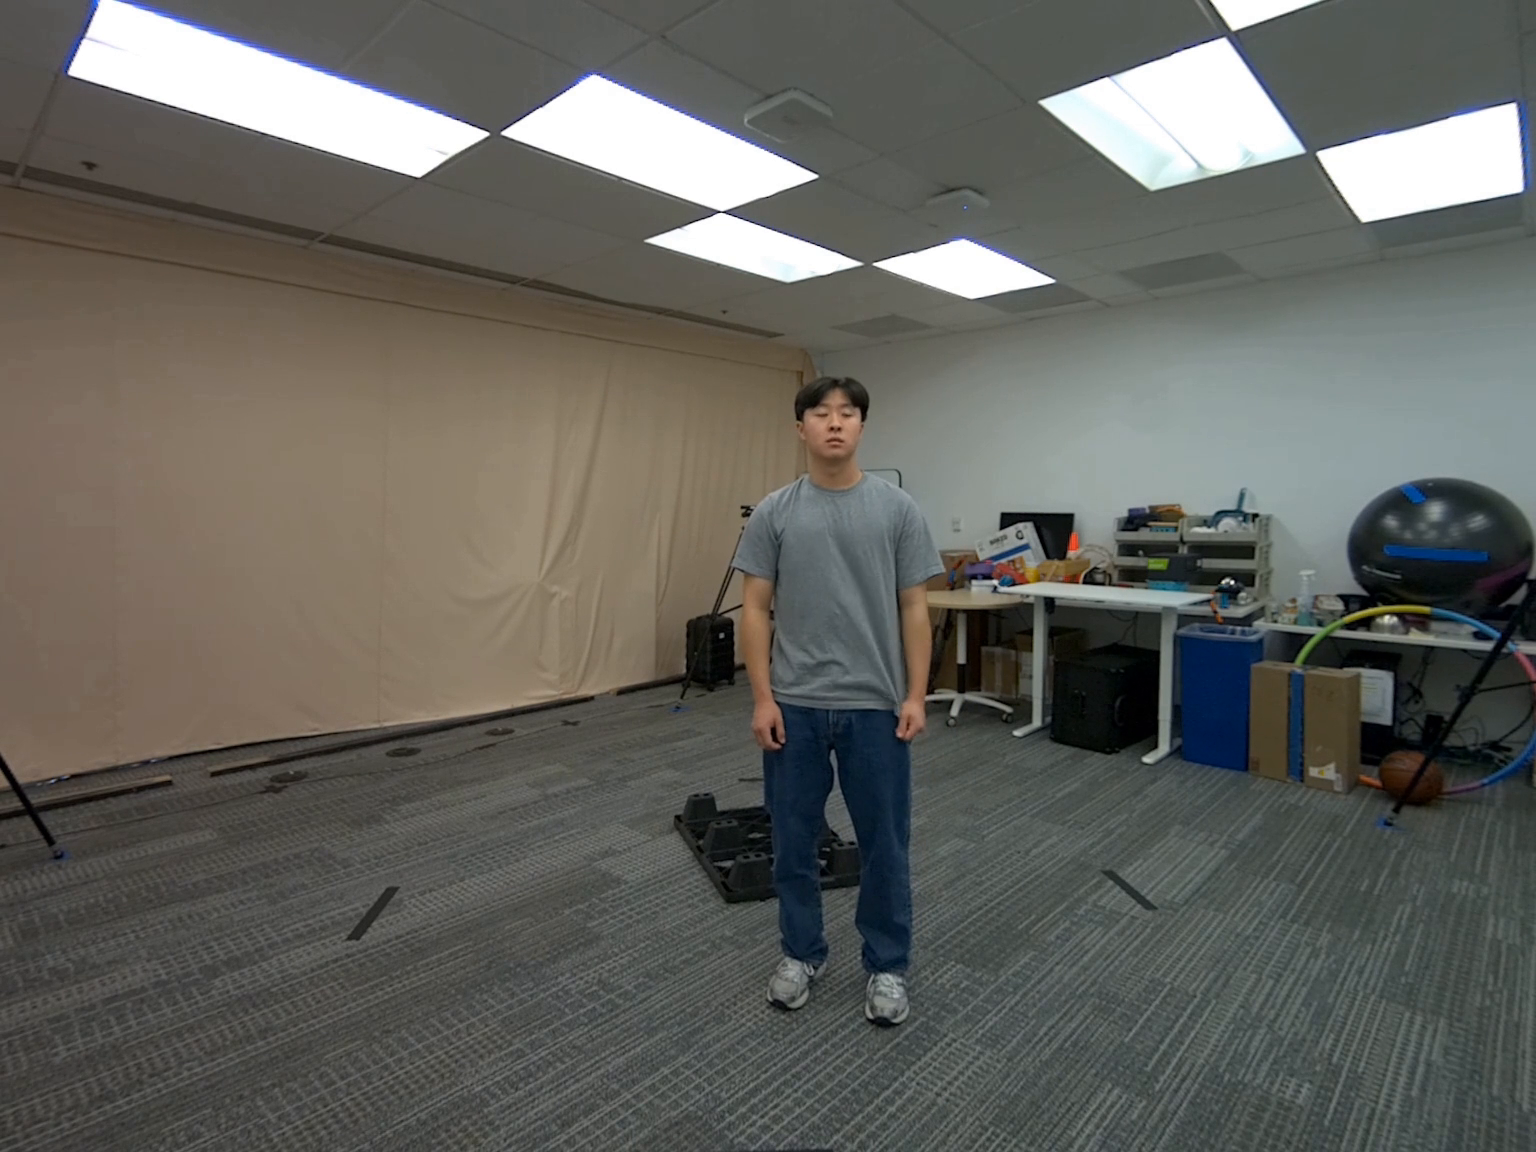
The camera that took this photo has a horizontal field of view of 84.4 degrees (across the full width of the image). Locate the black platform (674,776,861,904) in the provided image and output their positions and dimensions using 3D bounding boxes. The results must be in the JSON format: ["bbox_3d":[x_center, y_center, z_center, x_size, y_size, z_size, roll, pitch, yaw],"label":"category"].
[{"bbox_3d":[0.007,1.042,3.393,0.594,0.143,0.823,-2,5,-20],"label":"black platform"}]
